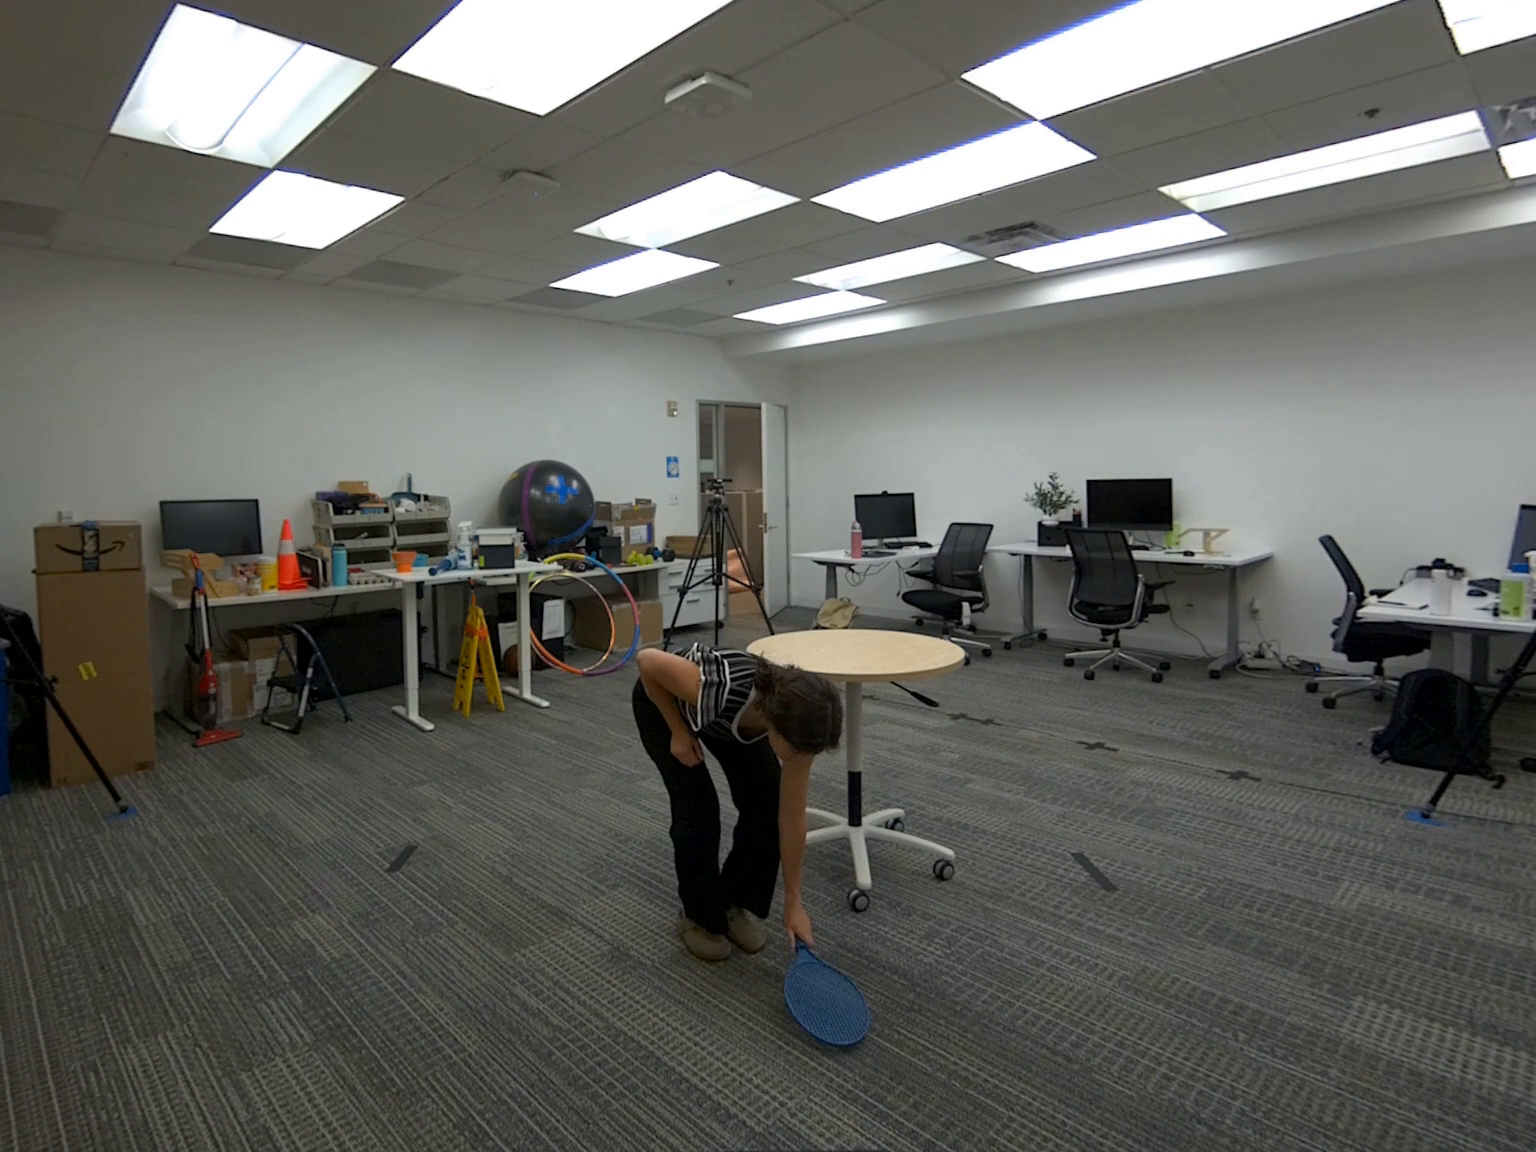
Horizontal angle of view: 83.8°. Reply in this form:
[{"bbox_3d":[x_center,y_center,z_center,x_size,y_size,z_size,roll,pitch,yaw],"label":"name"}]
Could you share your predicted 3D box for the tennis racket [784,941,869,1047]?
[{"bbox_3d":[0.142,1.069,2.263,0.210,0.031,0.446,4,17,-20],"label":"tennis racket"}]
